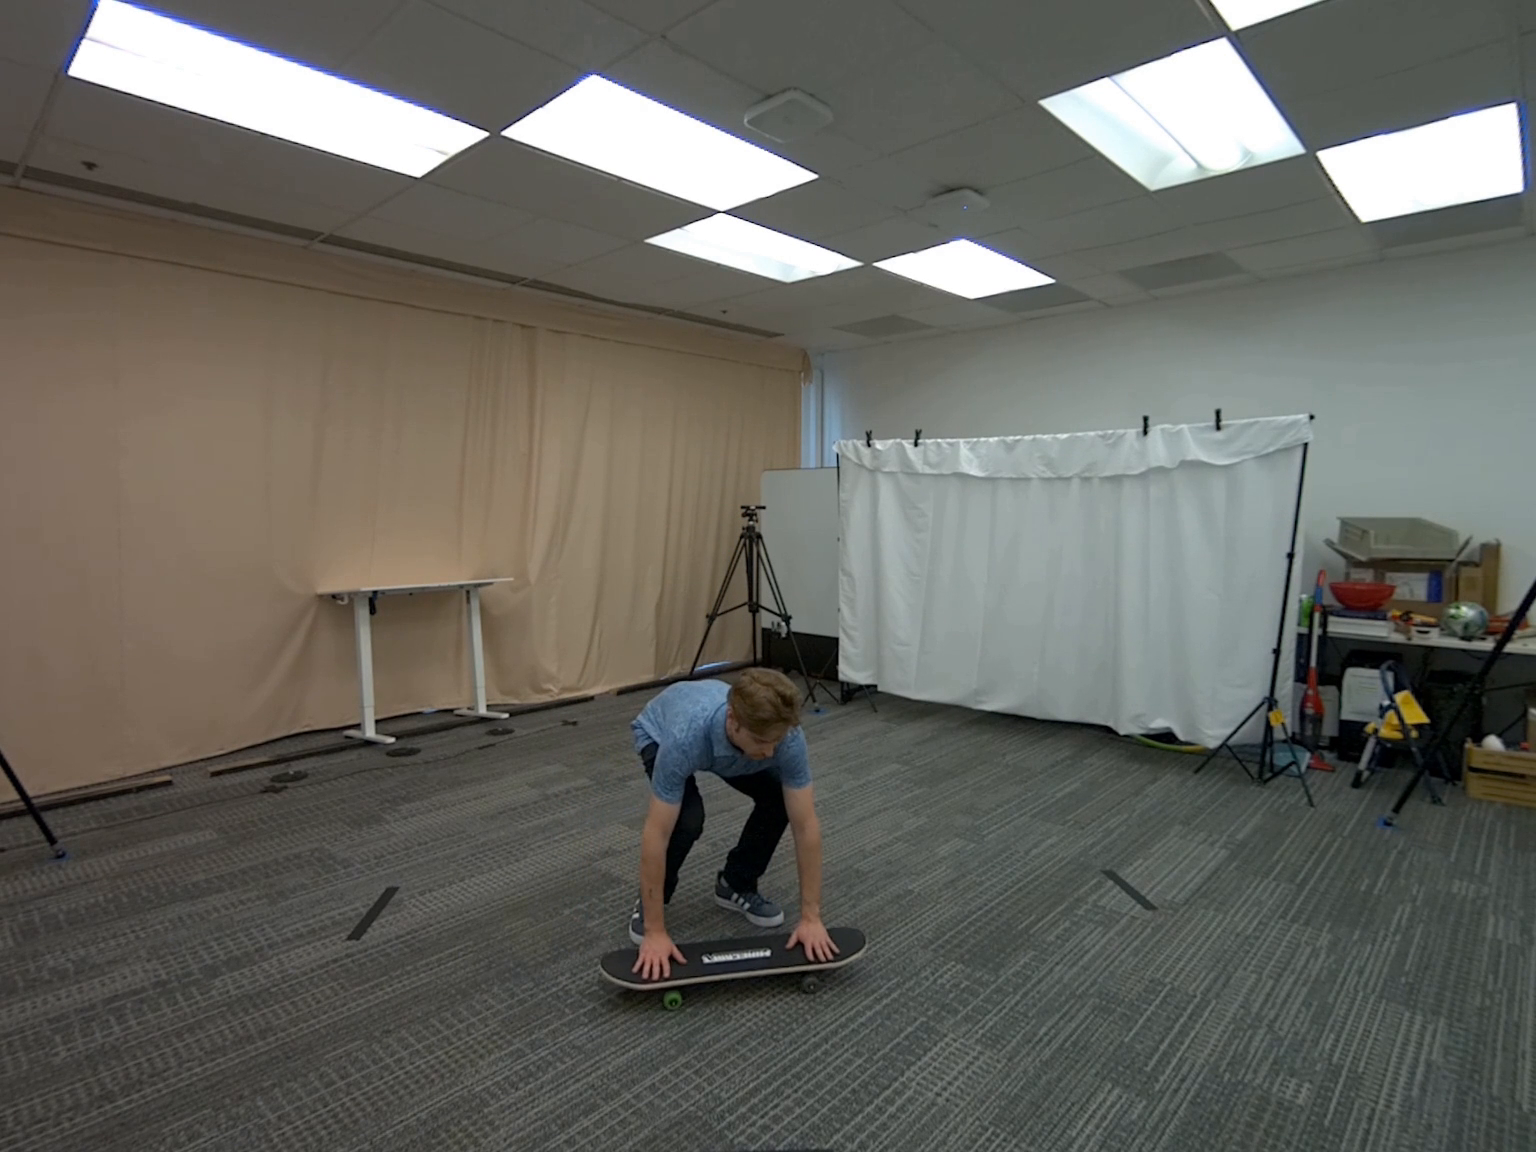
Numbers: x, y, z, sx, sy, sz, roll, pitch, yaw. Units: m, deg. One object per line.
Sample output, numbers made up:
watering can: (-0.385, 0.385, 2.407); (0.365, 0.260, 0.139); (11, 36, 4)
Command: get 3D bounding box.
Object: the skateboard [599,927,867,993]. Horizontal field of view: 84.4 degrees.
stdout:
skateboard: (-0.083, 1.125, 2.449); (0.777, 0.110, 0.196); (-1, 6, -10)
